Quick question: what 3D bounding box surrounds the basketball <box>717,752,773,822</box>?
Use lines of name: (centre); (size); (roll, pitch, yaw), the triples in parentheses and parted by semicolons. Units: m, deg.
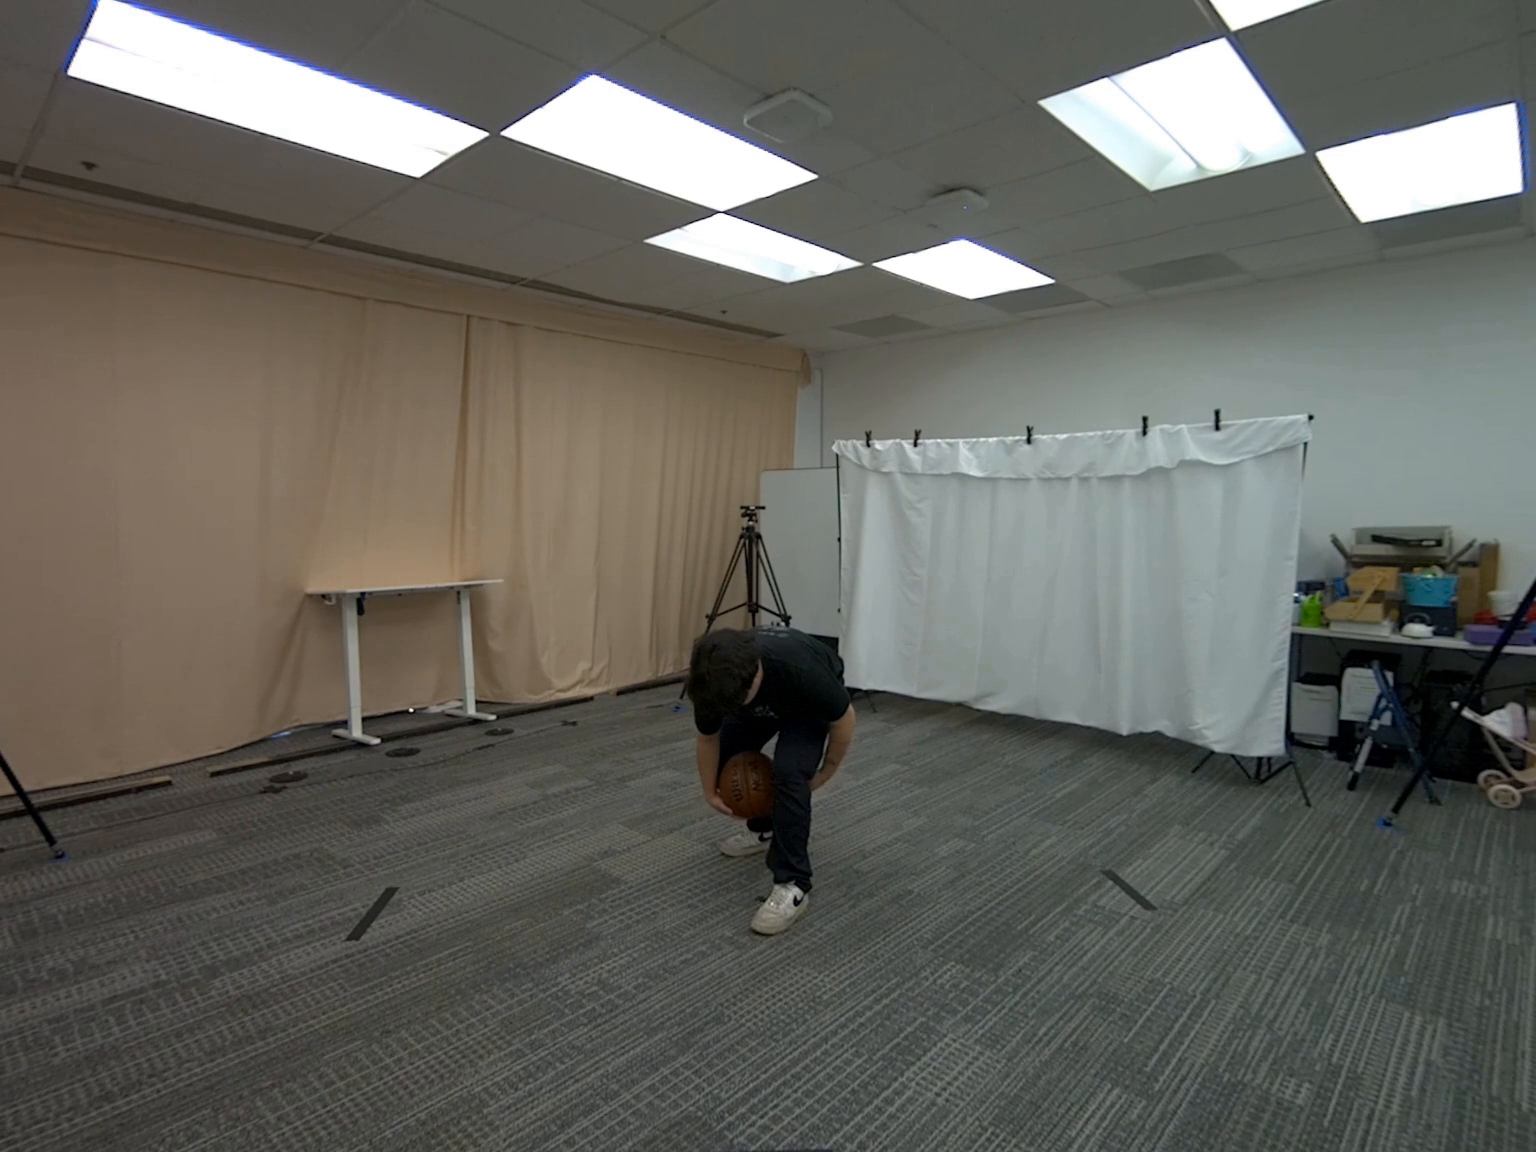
basketball: (-0.050, 0.771, 3.110); (0.236, 0.235, 0.237); (0, 4, -2)
